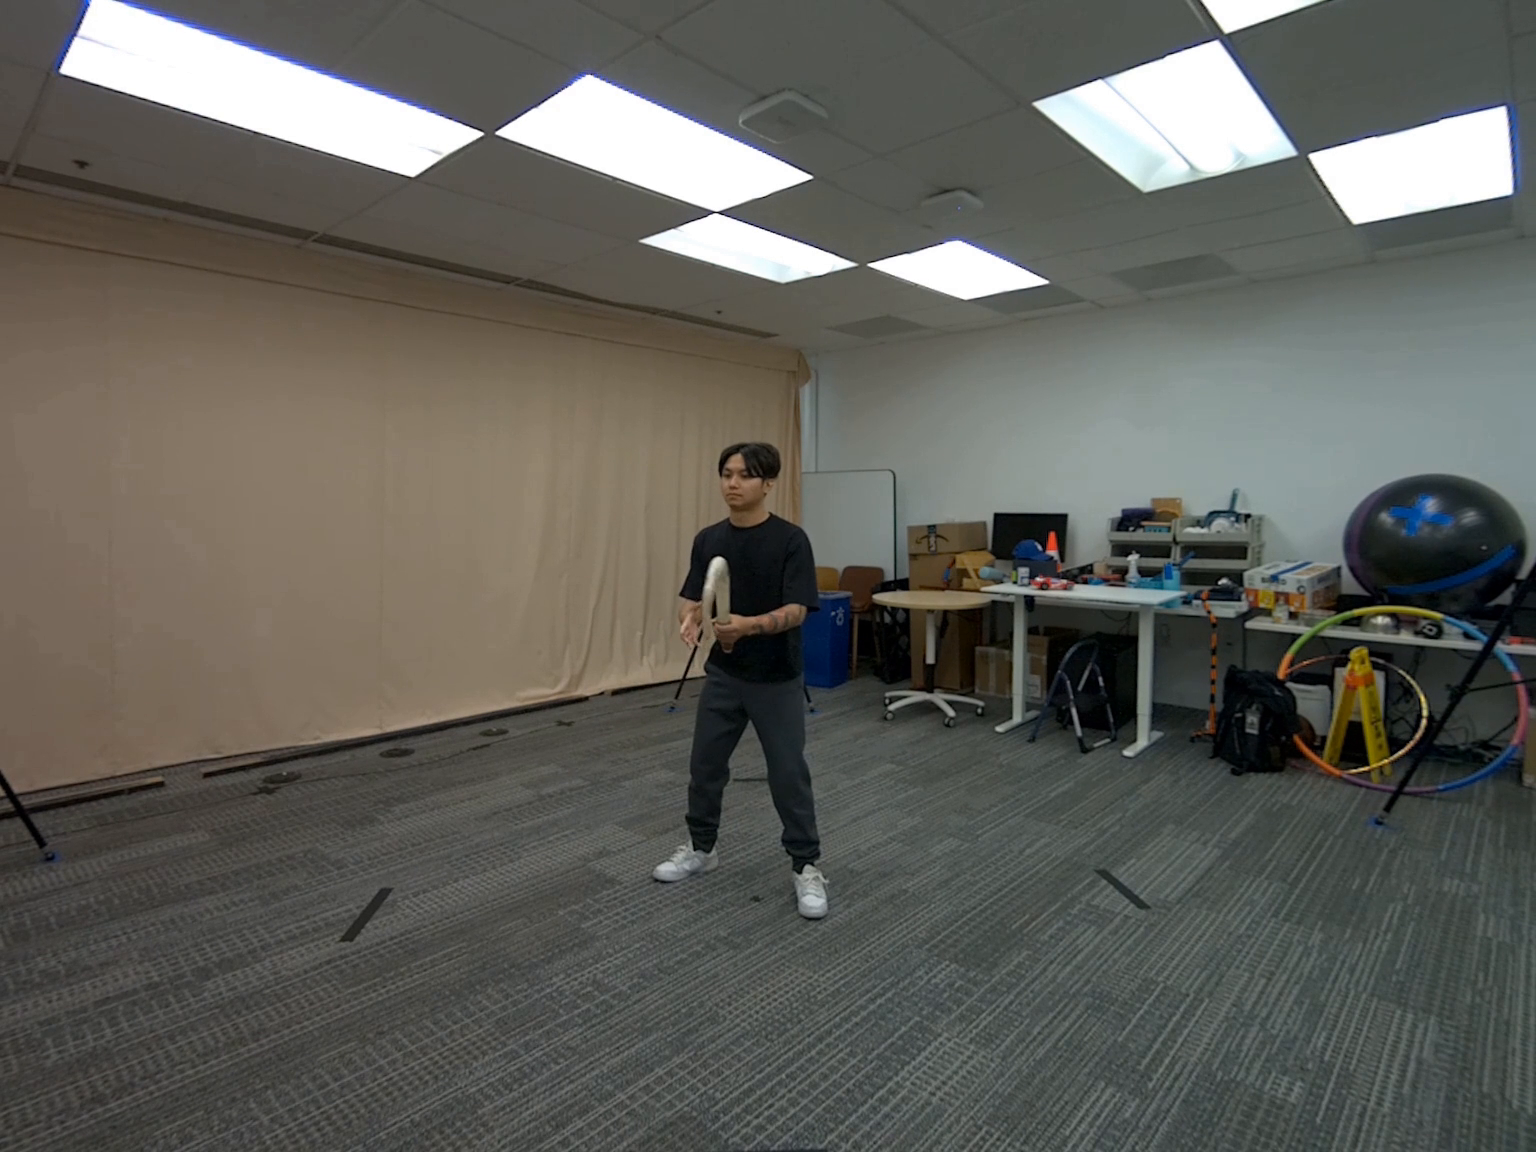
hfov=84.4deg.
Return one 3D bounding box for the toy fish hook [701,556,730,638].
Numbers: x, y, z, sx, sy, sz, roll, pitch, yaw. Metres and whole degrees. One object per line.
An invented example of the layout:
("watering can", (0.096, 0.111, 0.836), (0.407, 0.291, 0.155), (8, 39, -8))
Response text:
("toy fish hook", (-0.154, 0.178, 2.556), (0.049, 0.226, 0.495), (9, -33, 12))
